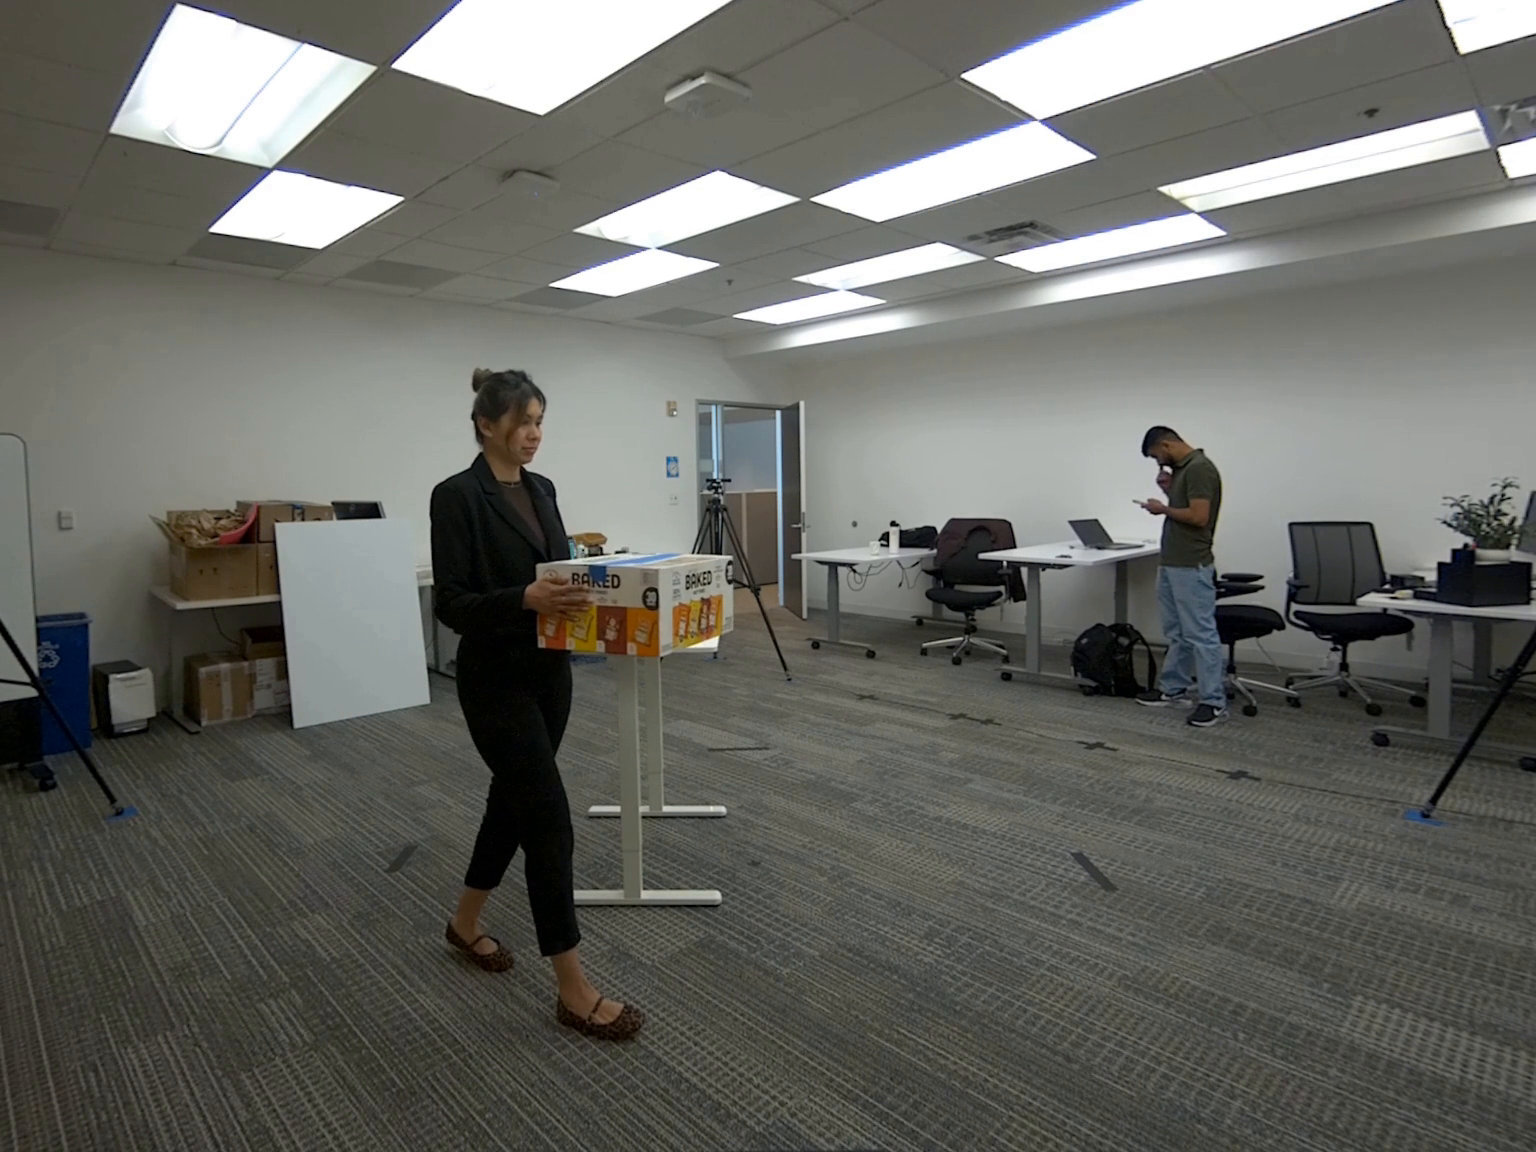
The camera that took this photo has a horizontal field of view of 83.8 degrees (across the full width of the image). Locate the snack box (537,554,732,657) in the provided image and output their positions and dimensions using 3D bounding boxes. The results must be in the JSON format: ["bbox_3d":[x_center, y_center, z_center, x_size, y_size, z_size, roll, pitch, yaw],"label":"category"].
[{"bbox_3d":[-0.324,0.054,2.155,0.348,0.205,0.397,2,5,24],"label":"snack box"}]
